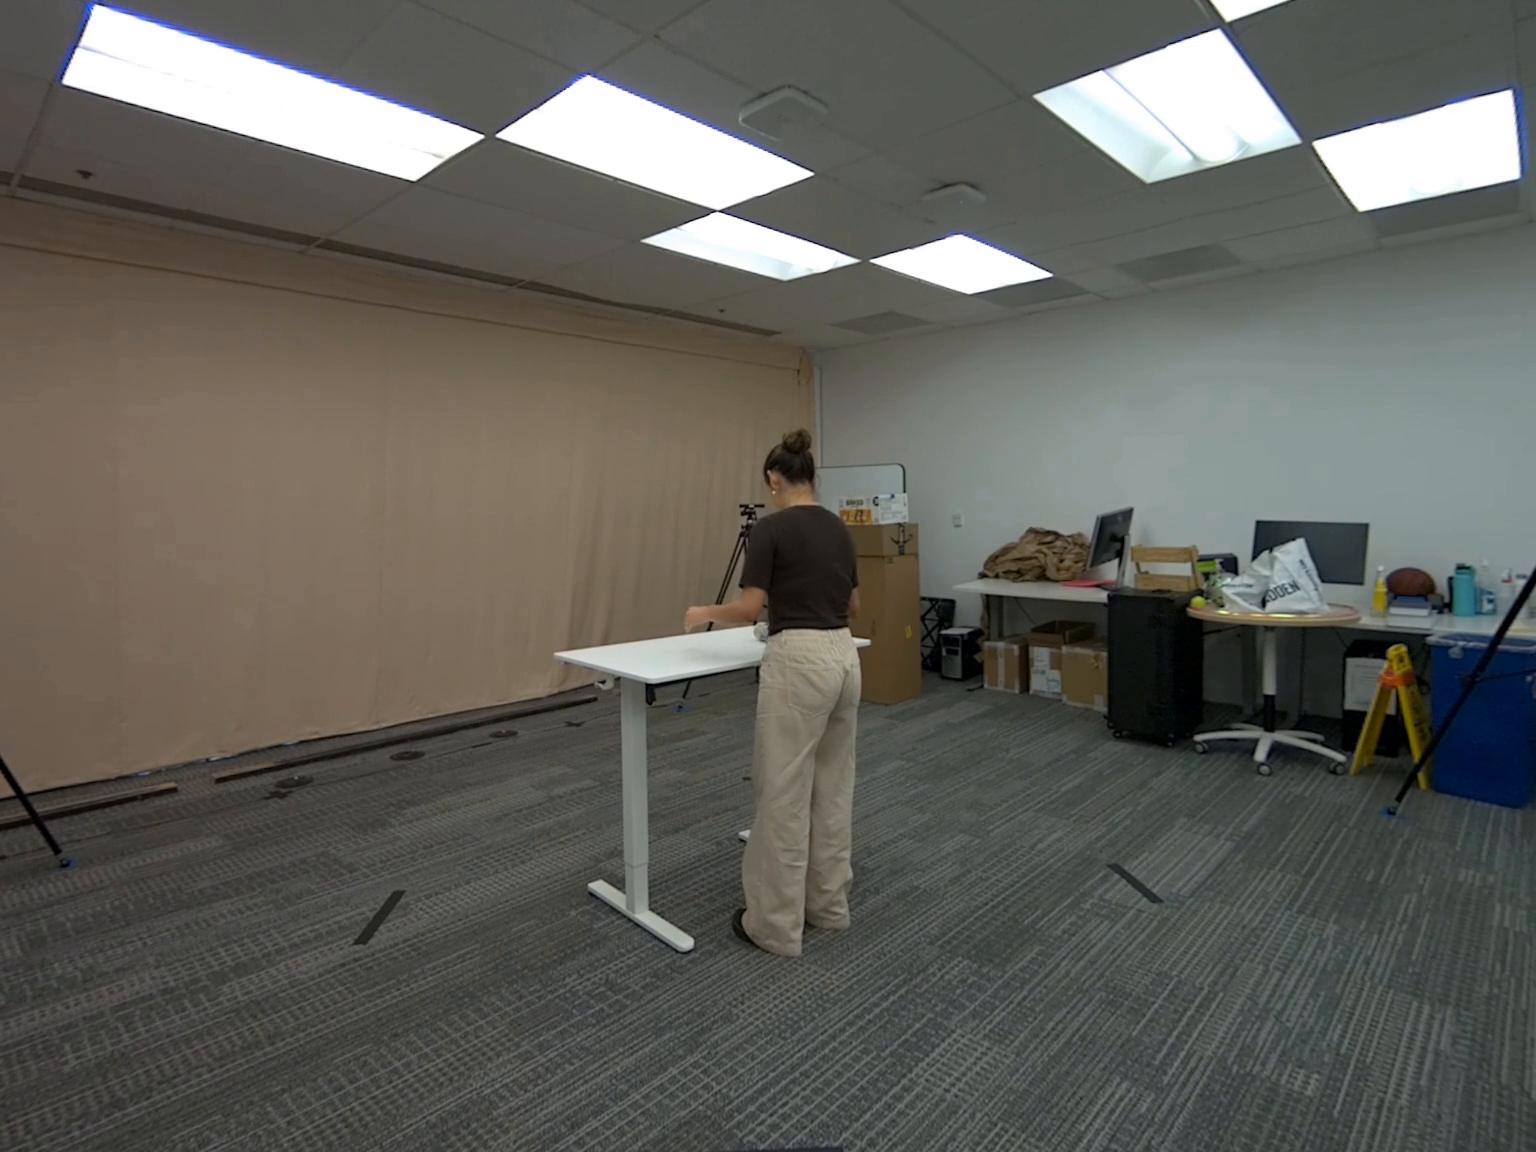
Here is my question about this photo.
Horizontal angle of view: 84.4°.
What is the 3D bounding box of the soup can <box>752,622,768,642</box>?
[{"bbox_3d":[0.010,0.212,3.133,0.065,0.067,0.125,-3,7,-30],"label":"soup can"}]
